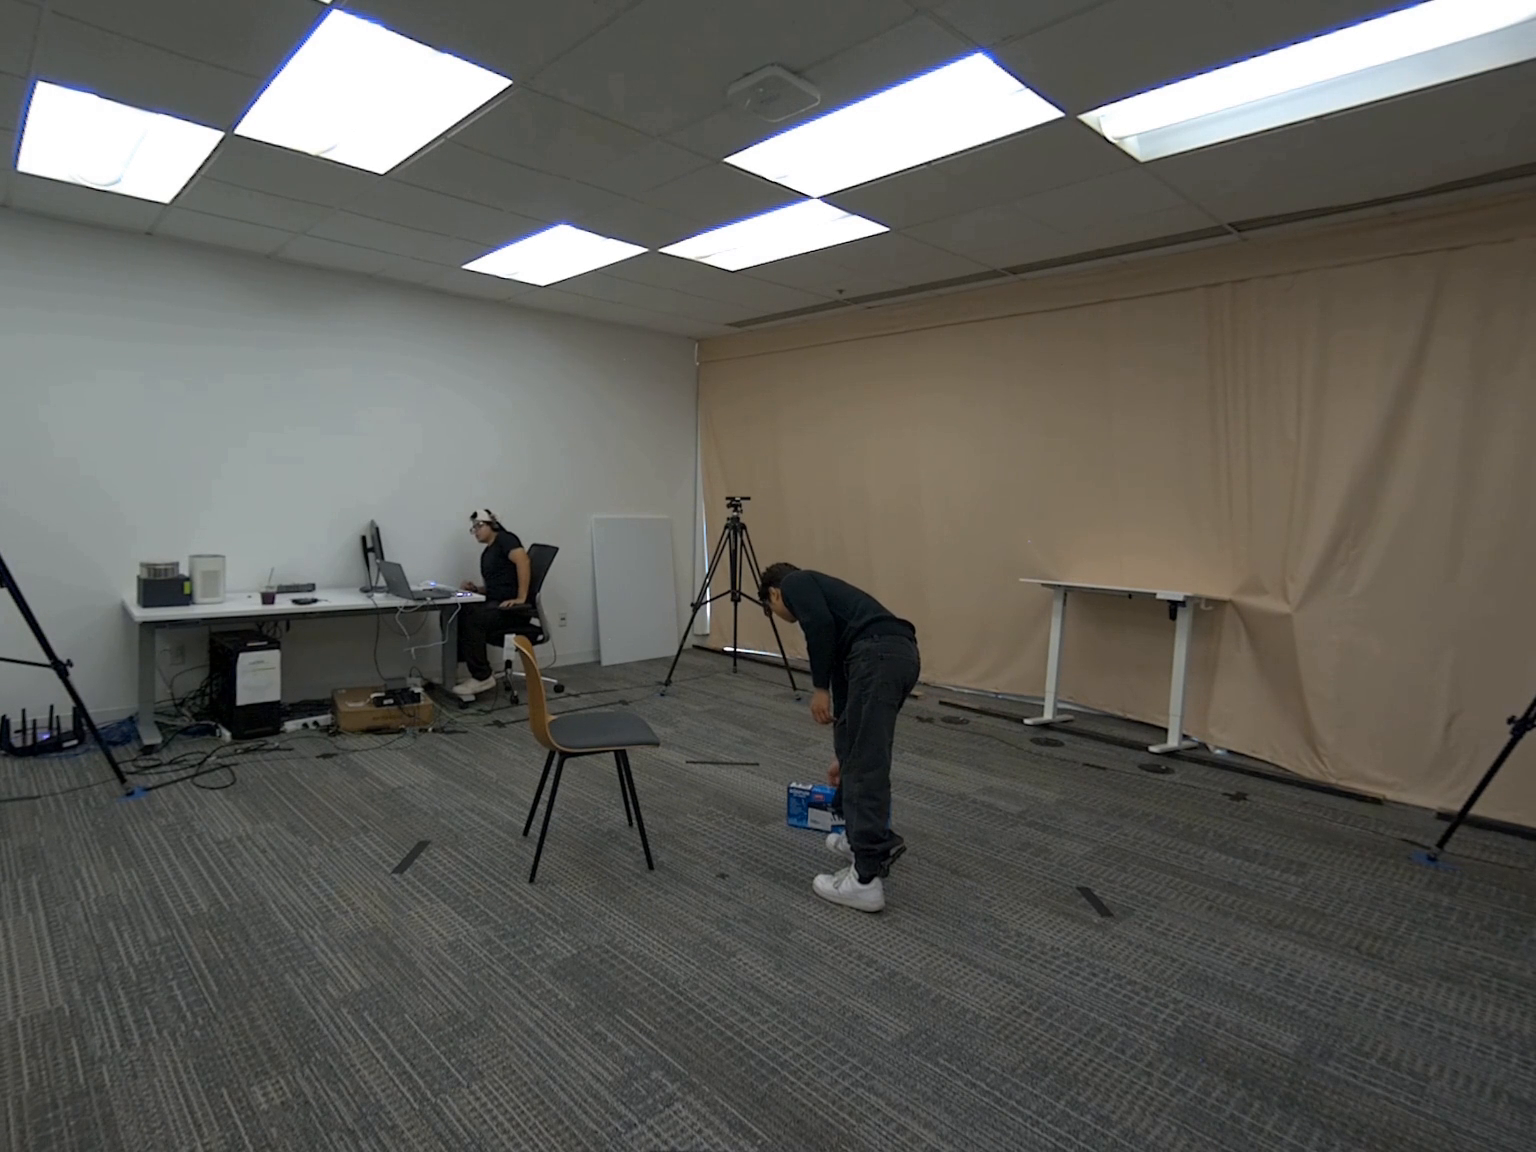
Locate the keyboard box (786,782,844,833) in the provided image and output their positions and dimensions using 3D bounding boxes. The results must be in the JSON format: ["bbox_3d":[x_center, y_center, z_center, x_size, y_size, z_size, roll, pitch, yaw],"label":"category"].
[{"bbox_3d":[0.286,0.978,3.525,0.444,0.175,0.058,4,8,22],"label":"keyboard box"}]
